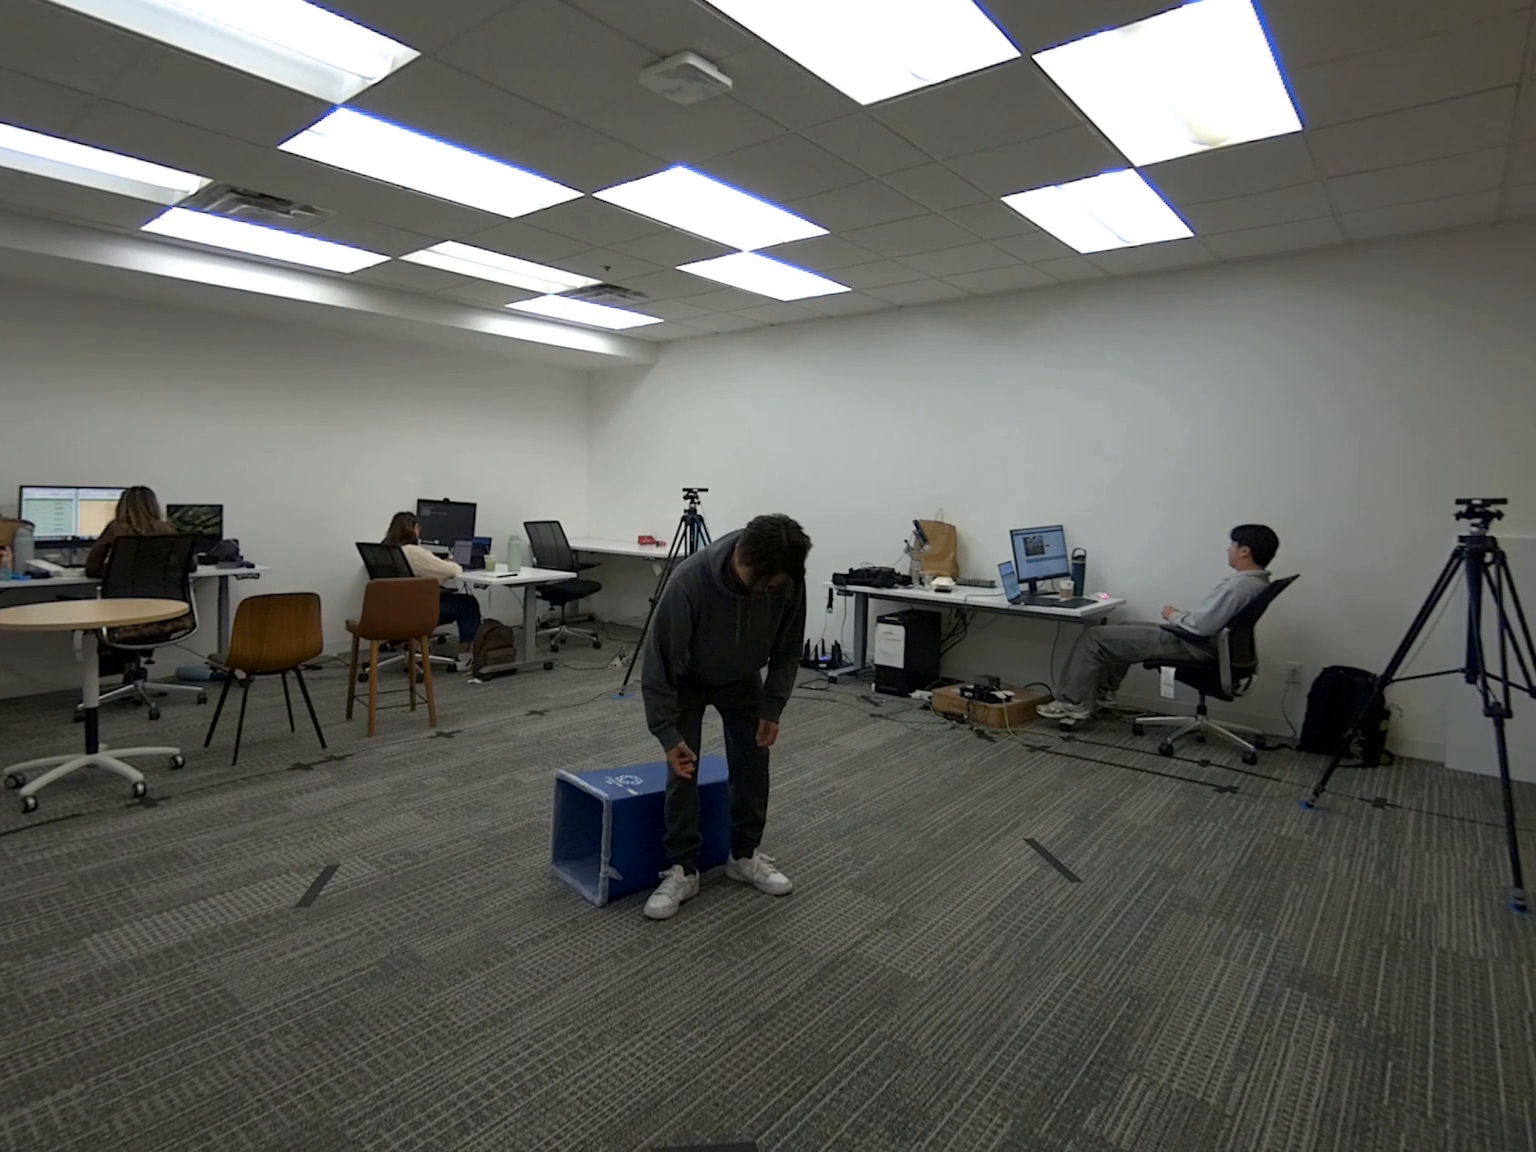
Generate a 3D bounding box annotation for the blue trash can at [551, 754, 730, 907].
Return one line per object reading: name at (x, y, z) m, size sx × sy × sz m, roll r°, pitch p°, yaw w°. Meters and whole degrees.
blue trash can at (-0.413, 0.892, 3.155) m, size 0.691 × 0.377 × 0.387 m, roll 1°, pitch 3°, yaw -41°
